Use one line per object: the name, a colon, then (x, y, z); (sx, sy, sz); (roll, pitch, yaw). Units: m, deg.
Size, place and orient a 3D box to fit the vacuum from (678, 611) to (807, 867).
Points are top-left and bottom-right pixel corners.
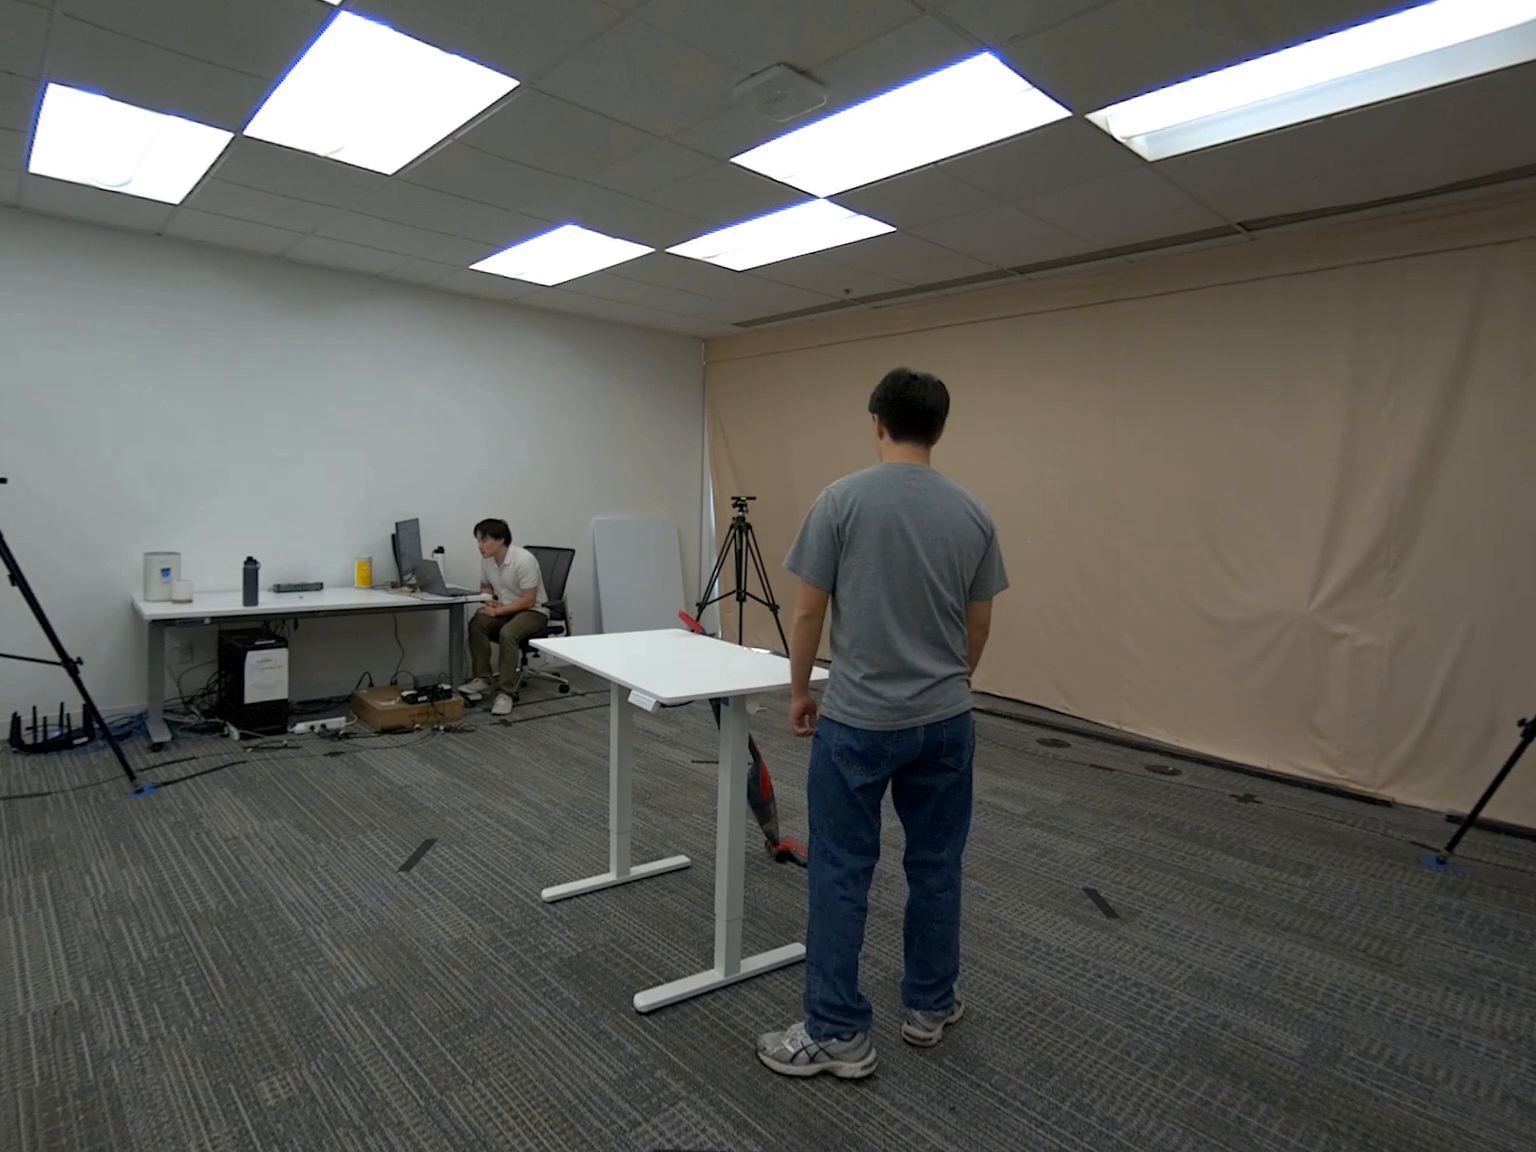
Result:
vacuum: (-0.127, 0.624, 3.220); (0.143, 1.040, 0.257); (-27, 10, -24)
